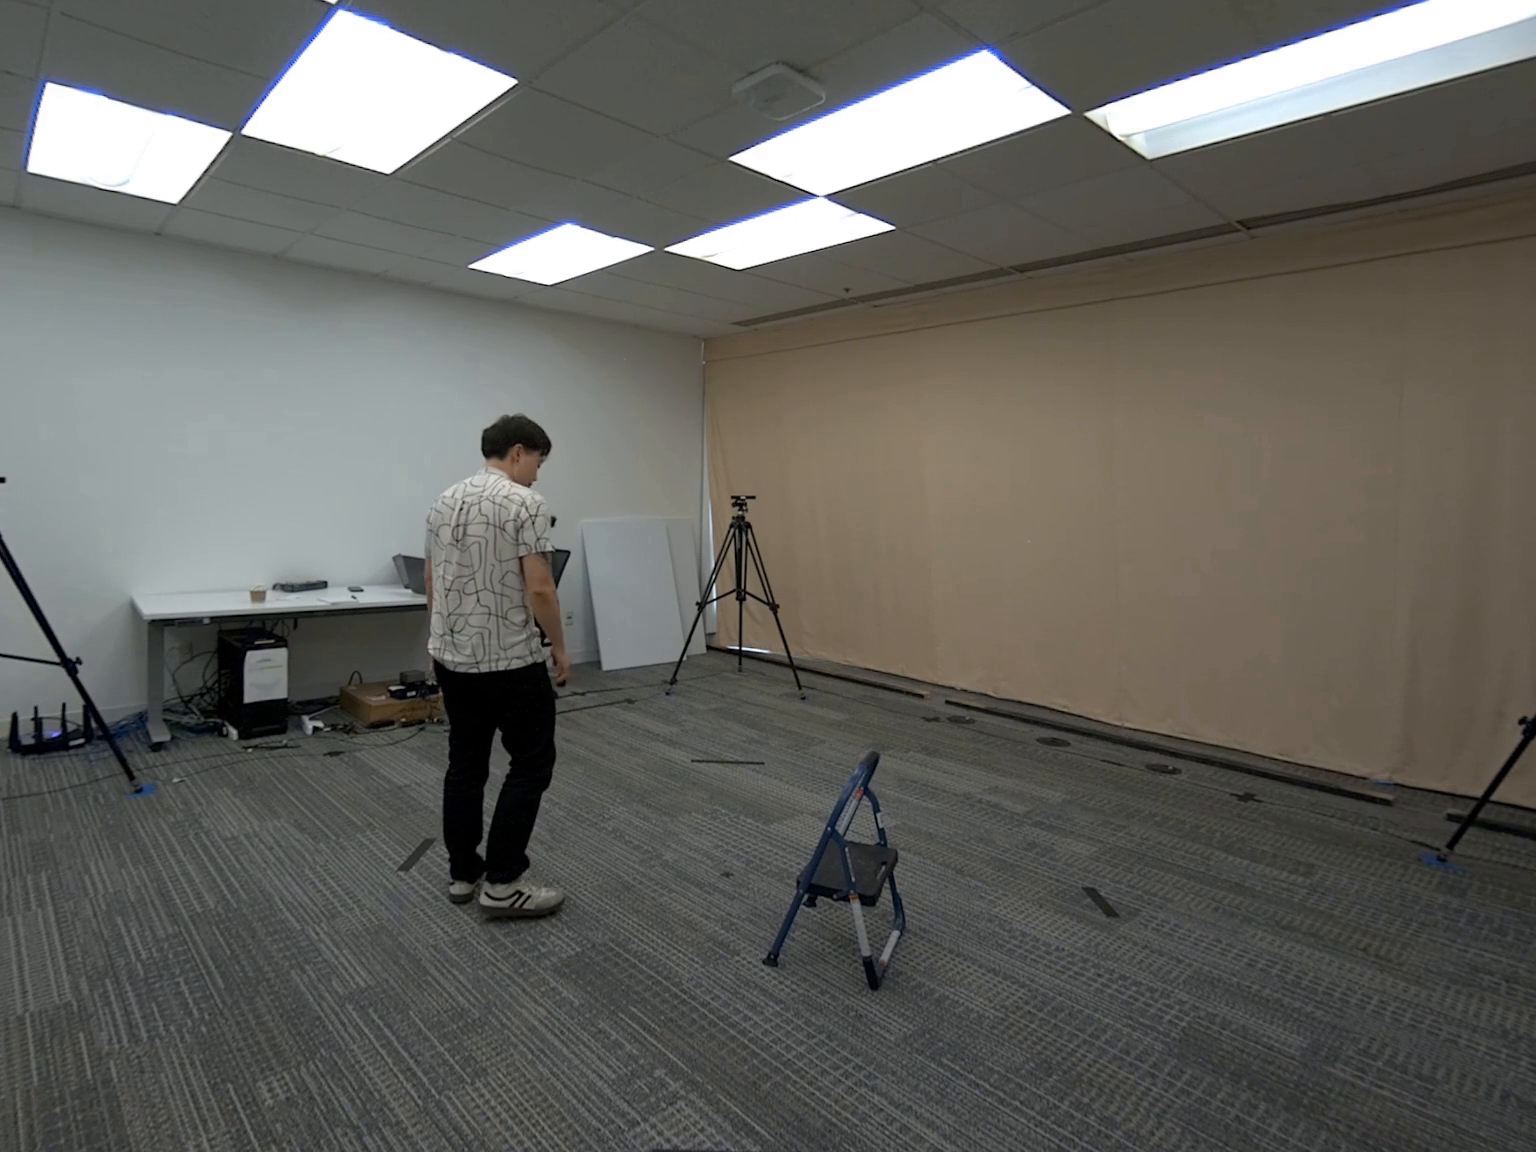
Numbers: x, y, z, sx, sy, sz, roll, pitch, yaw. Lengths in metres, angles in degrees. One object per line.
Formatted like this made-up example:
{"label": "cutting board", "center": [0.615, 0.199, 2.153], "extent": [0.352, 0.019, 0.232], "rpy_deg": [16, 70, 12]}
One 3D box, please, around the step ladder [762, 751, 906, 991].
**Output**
{"label": "step ladder", "center": [0.224, 0.851, 2.616], "extent": [0.355, 0.604, 0.424], "rpy_deg": [3, 5, 21]}
